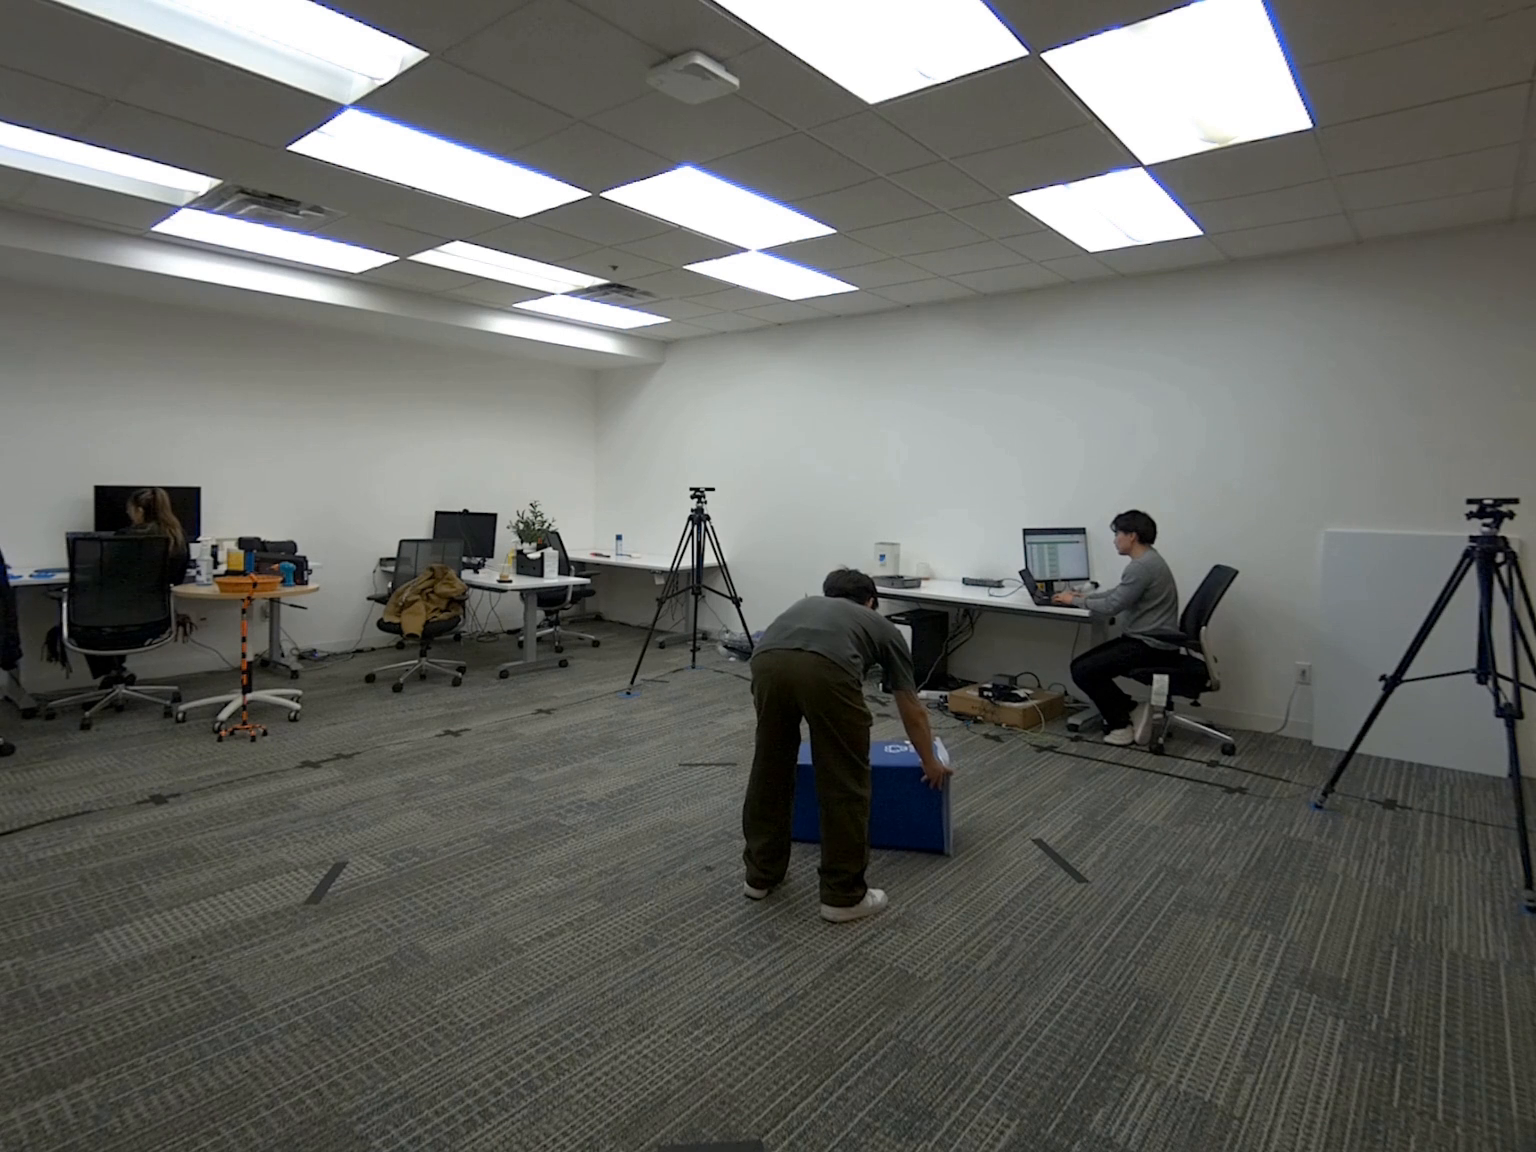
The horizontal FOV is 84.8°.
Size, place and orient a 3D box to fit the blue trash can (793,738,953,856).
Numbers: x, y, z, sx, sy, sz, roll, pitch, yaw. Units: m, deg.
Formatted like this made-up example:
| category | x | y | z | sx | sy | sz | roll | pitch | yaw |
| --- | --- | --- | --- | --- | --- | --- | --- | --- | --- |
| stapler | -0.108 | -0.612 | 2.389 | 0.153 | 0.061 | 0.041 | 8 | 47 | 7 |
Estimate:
| category | x | y | z | sx | sy | sz | roll | pitch | yaw |
| --- | --- | --- | --- | --- | --- | --- | --- | --- | --- |
| blue trash can | 0.356 | 0.868 | 3.466 | 0.720 | 0.373 | 0.376 | 0 | 5 | 7 |
